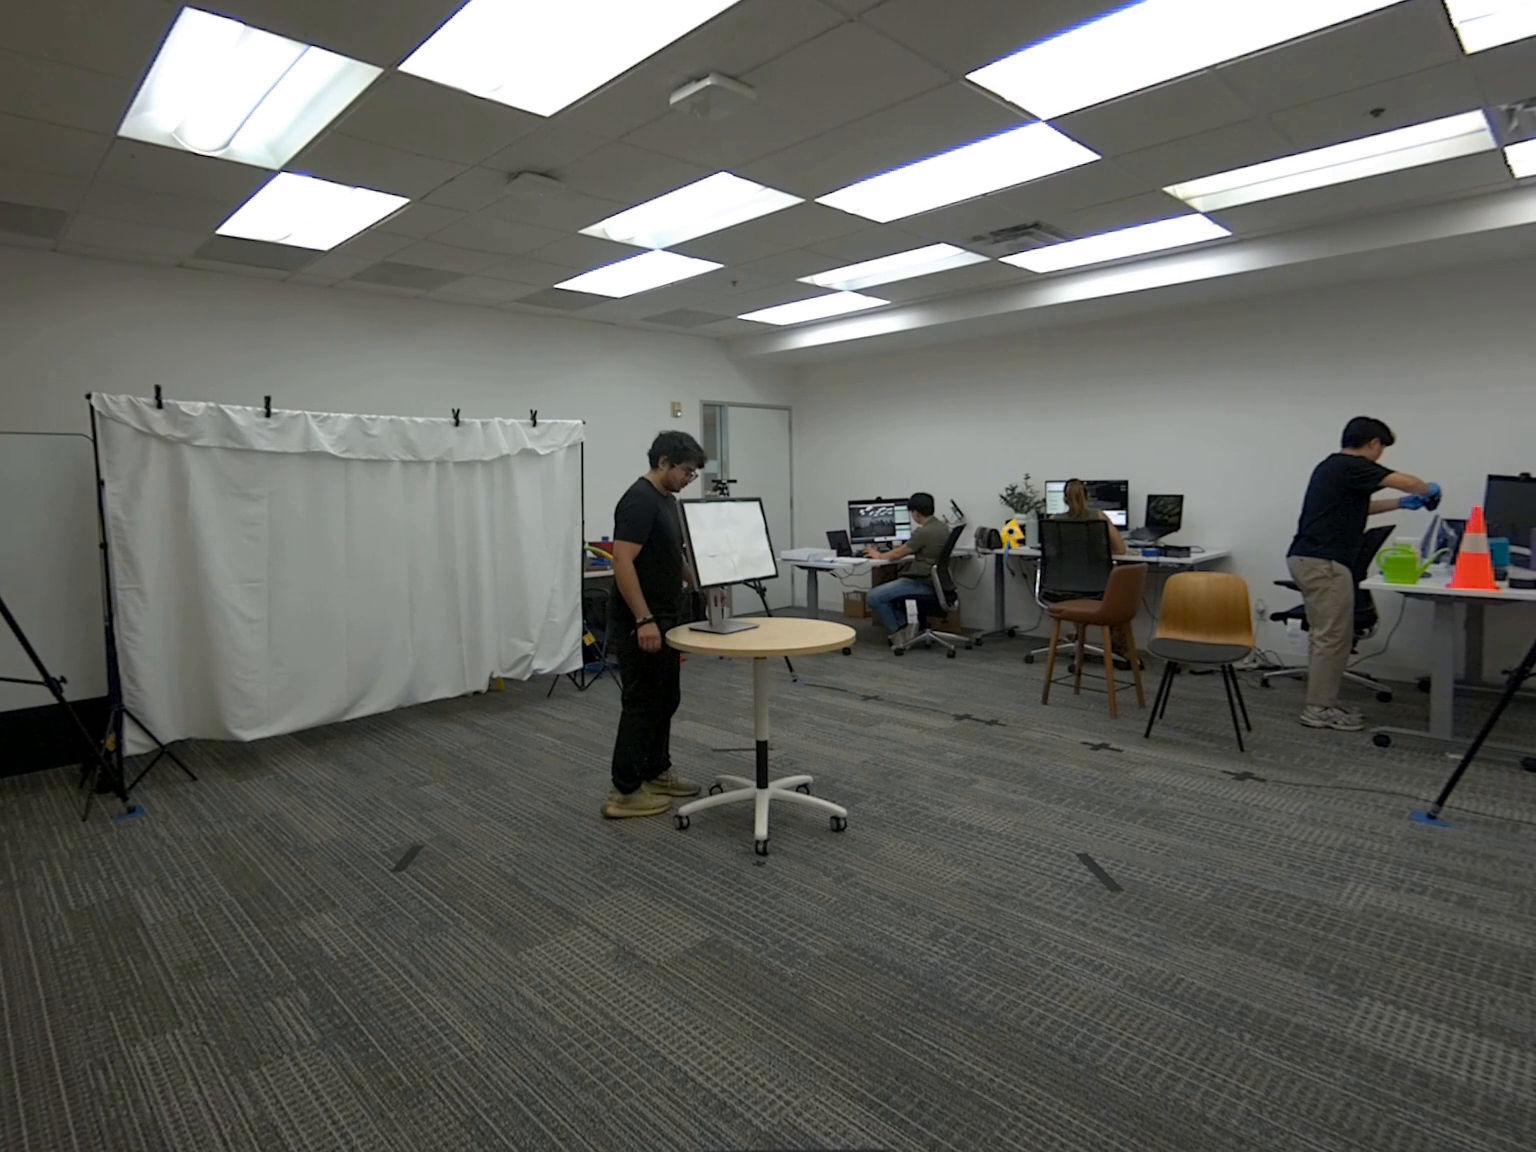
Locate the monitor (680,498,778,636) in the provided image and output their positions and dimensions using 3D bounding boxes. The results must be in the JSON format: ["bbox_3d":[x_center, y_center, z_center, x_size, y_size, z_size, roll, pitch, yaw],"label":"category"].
[{"bbox_3d":[-0.207,-0.048,3.567,0.215,0.554,0.551,-7,0,36],"label":"monitor"}]
